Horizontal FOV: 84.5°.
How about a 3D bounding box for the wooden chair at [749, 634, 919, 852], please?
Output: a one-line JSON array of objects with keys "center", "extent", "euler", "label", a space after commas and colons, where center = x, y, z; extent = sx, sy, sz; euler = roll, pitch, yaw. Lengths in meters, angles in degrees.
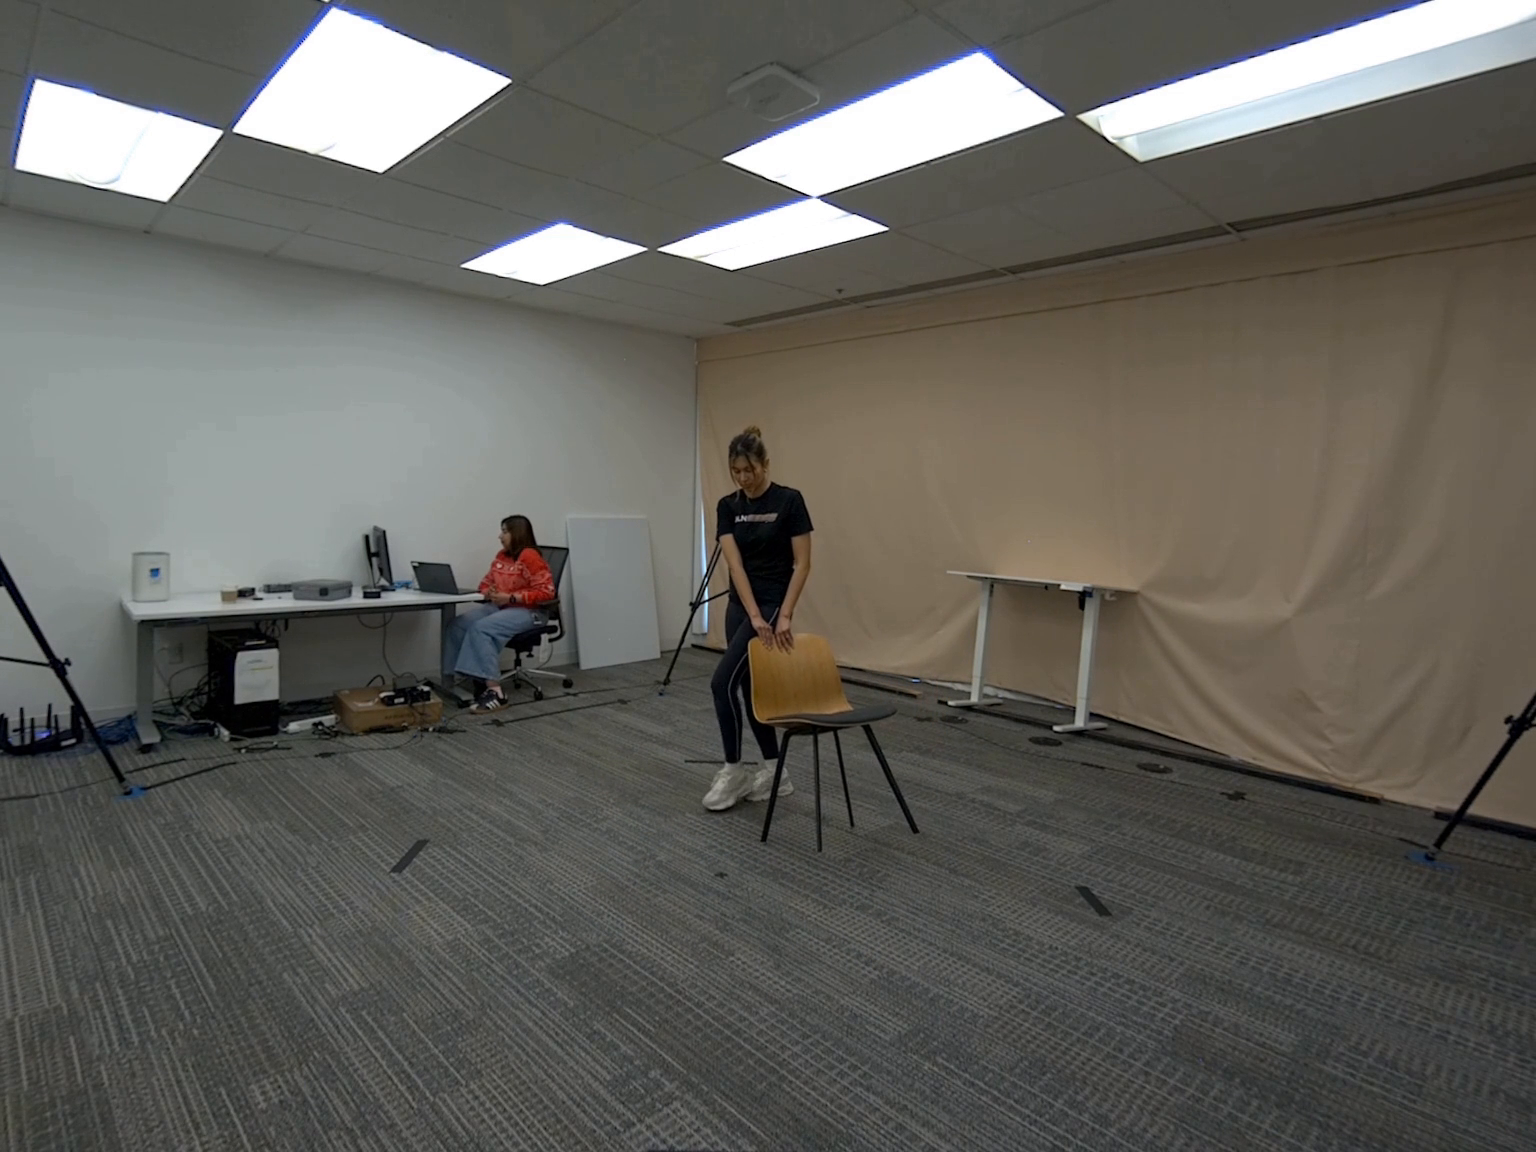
[{"center": [0.223, 0.614, 3.382], "extent": [0.469, 0.888, 0.526], "euler": [0, -17, -28], "label": "wooden chair"}]
